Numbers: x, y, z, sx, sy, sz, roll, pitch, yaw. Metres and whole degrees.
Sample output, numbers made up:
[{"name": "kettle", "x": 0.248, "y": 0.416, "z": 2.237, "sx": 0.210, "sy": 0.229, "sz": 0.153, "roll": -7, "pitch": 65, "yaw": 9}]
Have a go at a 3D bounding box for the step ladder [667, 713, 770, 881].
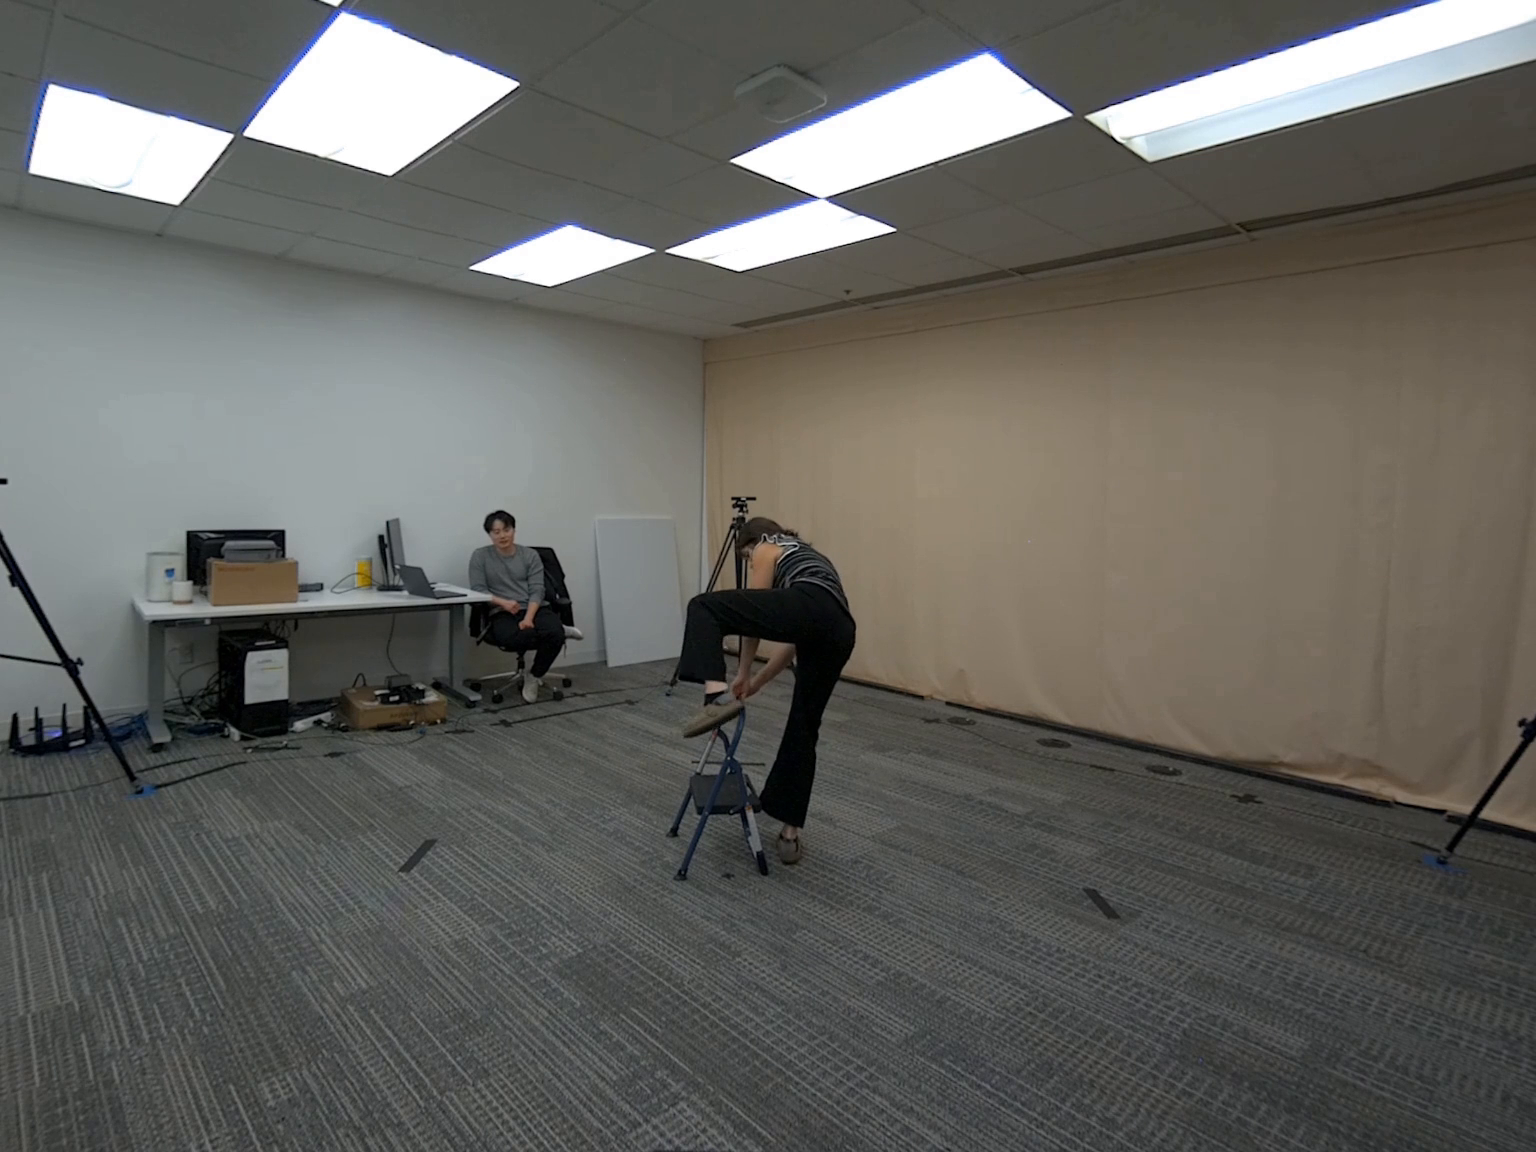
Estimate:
[{"name": "step ladder", "x": -0.201, "y": 0.789, "z": 3.273, "sx": 0.346, "sy": 0.604, "sz": 0.435, "roll": 1, "pitch": 4, "yaw": -10}]
